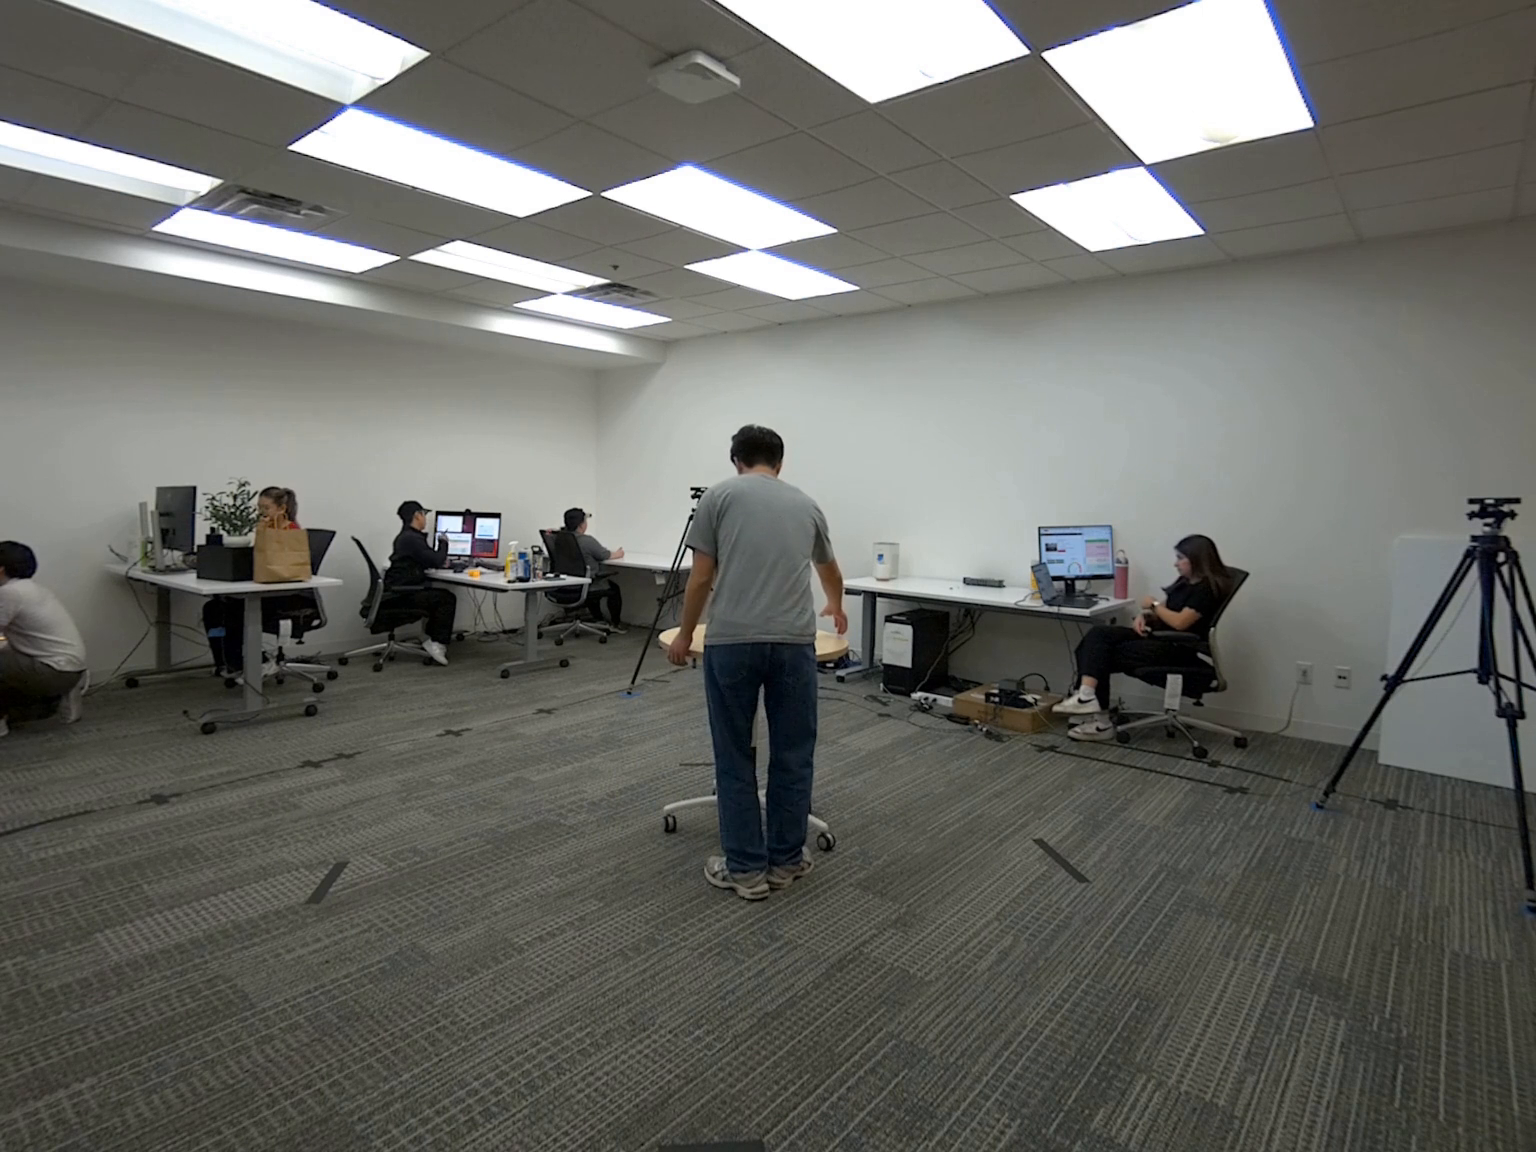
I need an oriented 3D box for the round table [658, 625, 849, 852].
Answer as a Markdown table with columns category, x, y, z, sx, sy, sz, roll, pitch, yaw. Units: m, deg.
| category | x | y | z | sx | sy | sz | roll | pitch | yaw |
| --- | --- | --- | --- | --- | --- | --- | --- | --- | --- |
| round table | -0.080 | 0.639 | 3.470 | 0.763 | 0.791 | 0.768 | 2 | 4 | -2 |
